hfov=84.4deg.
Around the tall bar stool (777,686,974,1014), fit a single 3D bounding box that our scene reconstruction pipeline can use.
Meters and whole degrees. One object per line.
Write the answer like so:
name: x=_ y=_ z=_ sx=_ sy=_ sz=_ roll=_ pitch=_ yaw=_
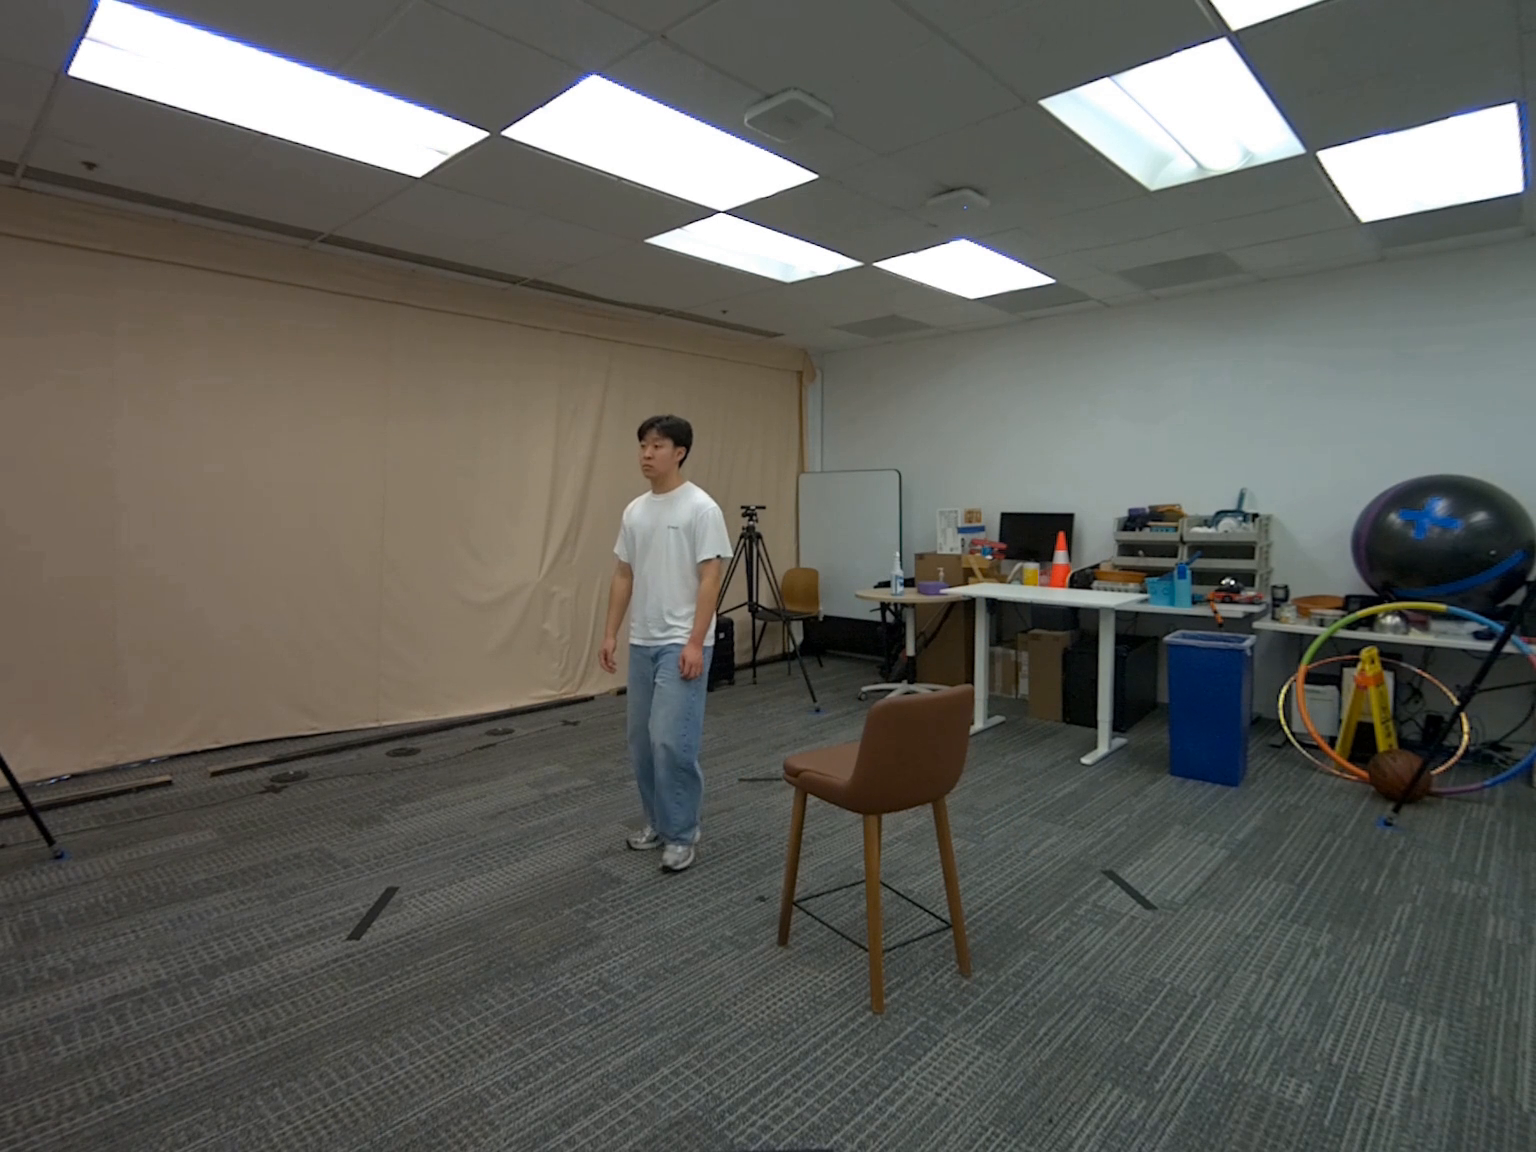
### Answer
tall bar stool: x=0.332 y=0.742 z=2.560 sx=0.443 sy=0.887 sz=0.482 roll=-2 pitch=6 yaw=-34
